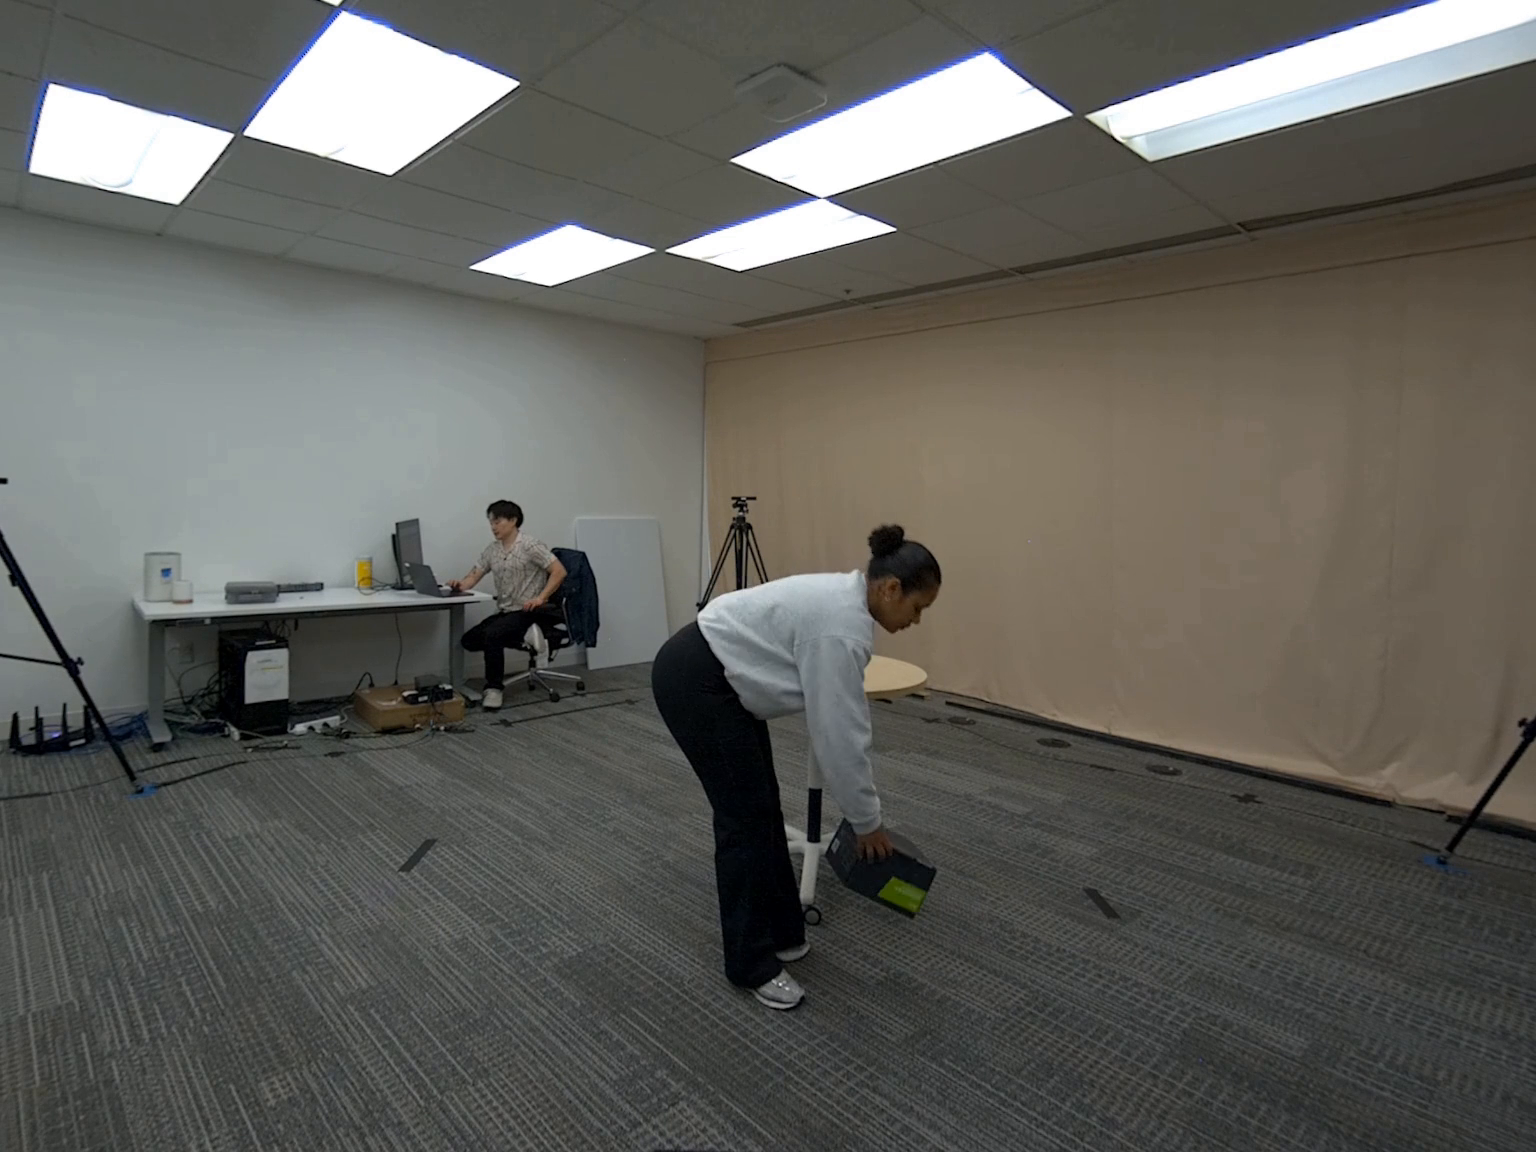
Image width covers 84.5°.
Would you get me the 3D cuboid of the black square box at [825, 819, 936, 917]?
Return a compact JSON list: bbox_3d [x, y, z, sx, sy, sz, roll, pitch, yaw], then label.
[{"bbox_3d":[0.315,0.817,2.420,0.226,0.156,0.219,28,-1,-8],"label":"black square box"}]
